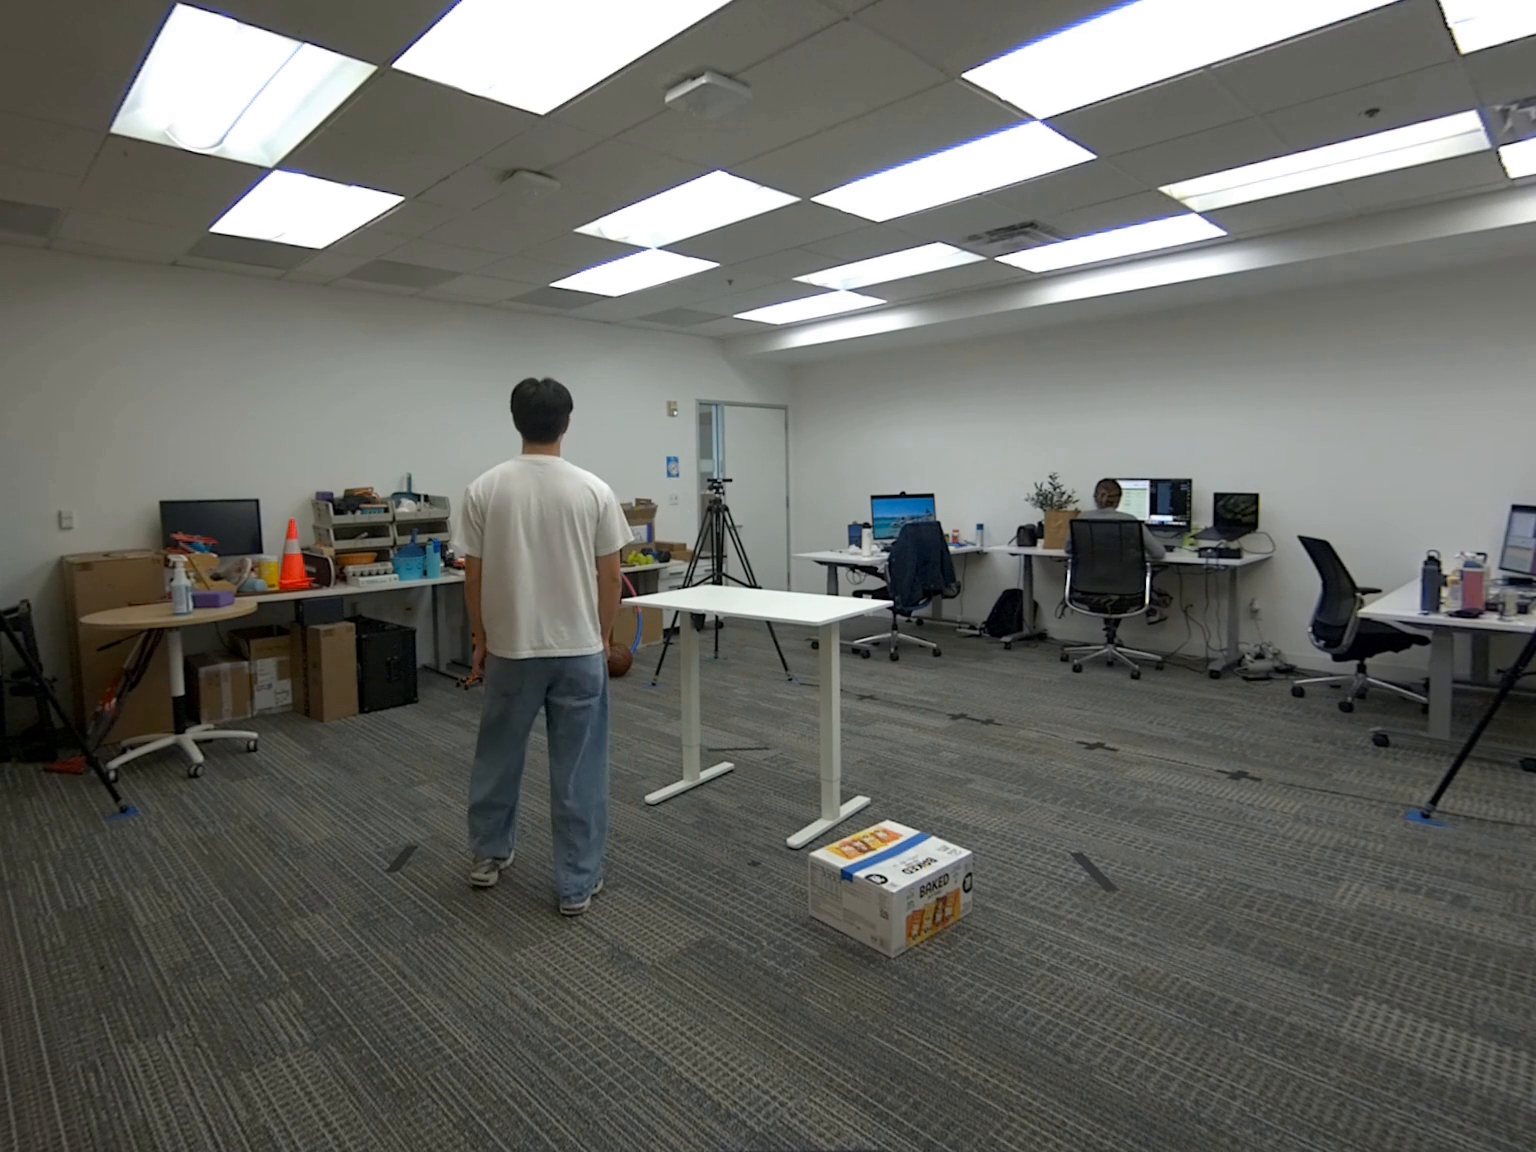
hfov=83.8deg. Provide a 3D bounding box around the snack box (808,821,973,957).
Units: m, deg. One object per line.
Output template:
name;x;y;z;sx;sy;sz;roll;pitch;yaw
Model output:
snack box;0.388;0.975;2.718;0.394;0.205;0.351;-6;8;-41
